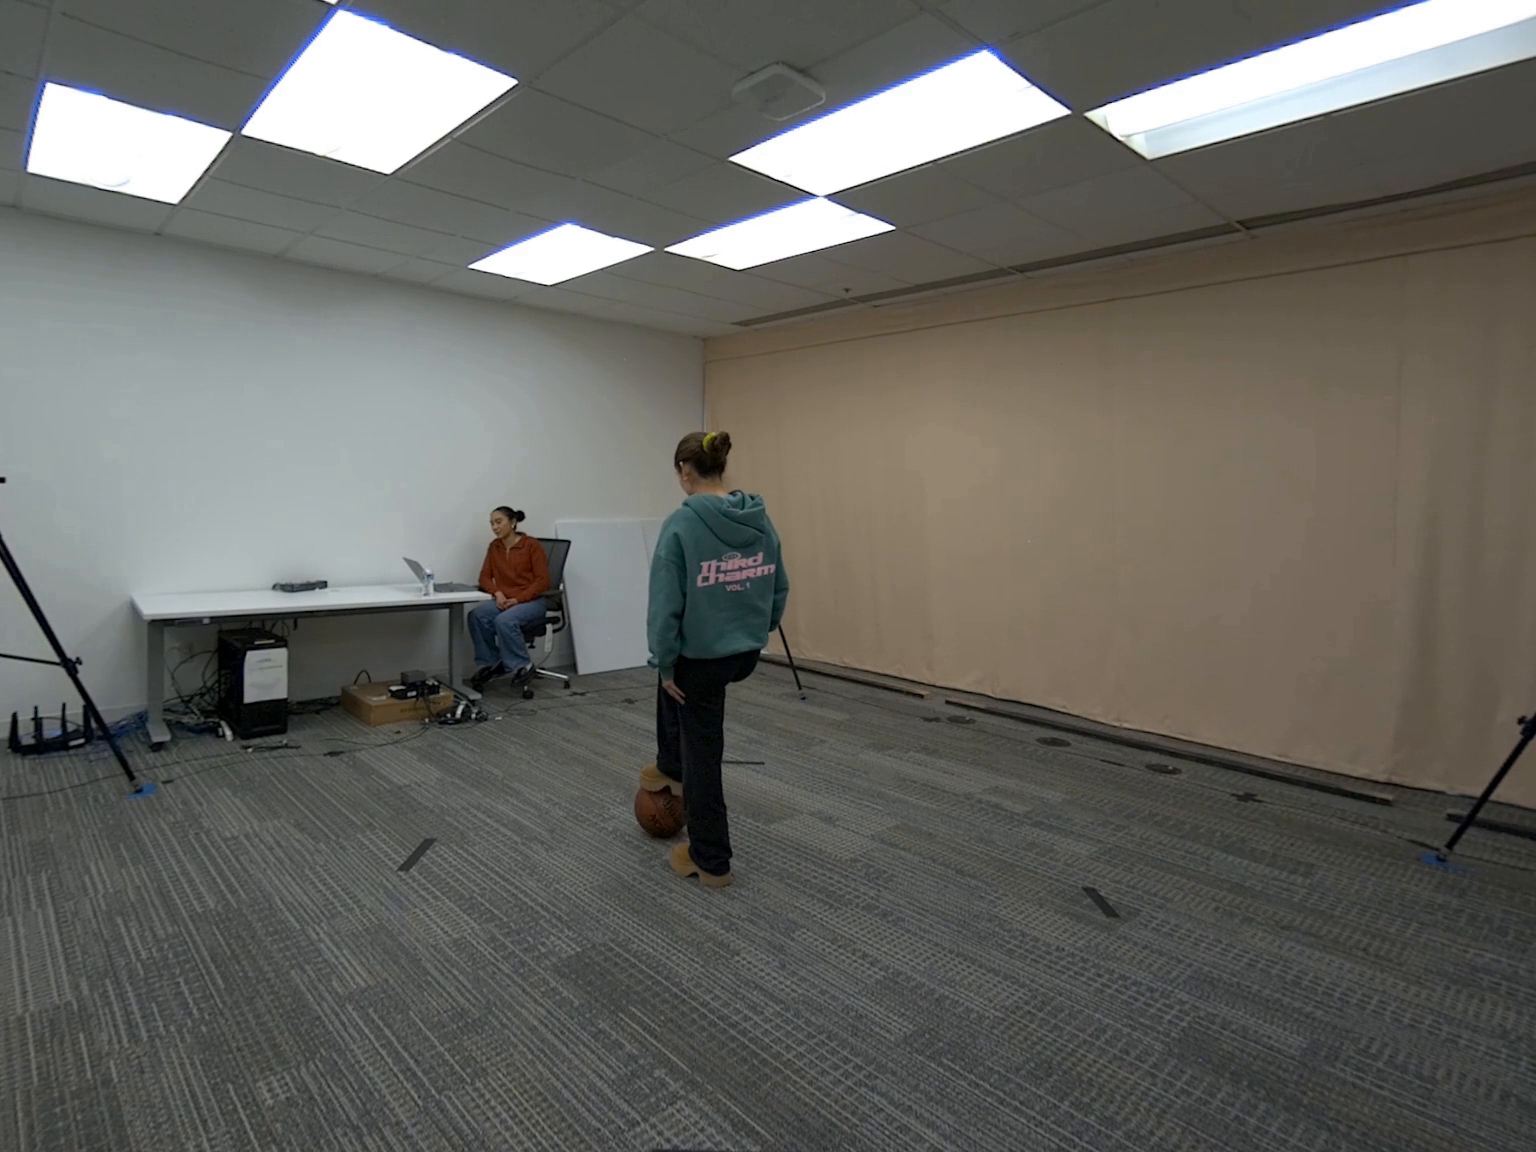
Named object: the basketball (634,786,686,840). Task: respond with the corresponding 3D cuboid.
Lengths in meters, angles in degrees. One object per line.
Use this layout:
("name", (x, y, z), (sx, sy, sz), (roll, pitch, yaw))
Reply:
("basketball", (-0.437, 0.945, 3.460), (0.236, 0.235, 0.237), (1, 4, -1))
